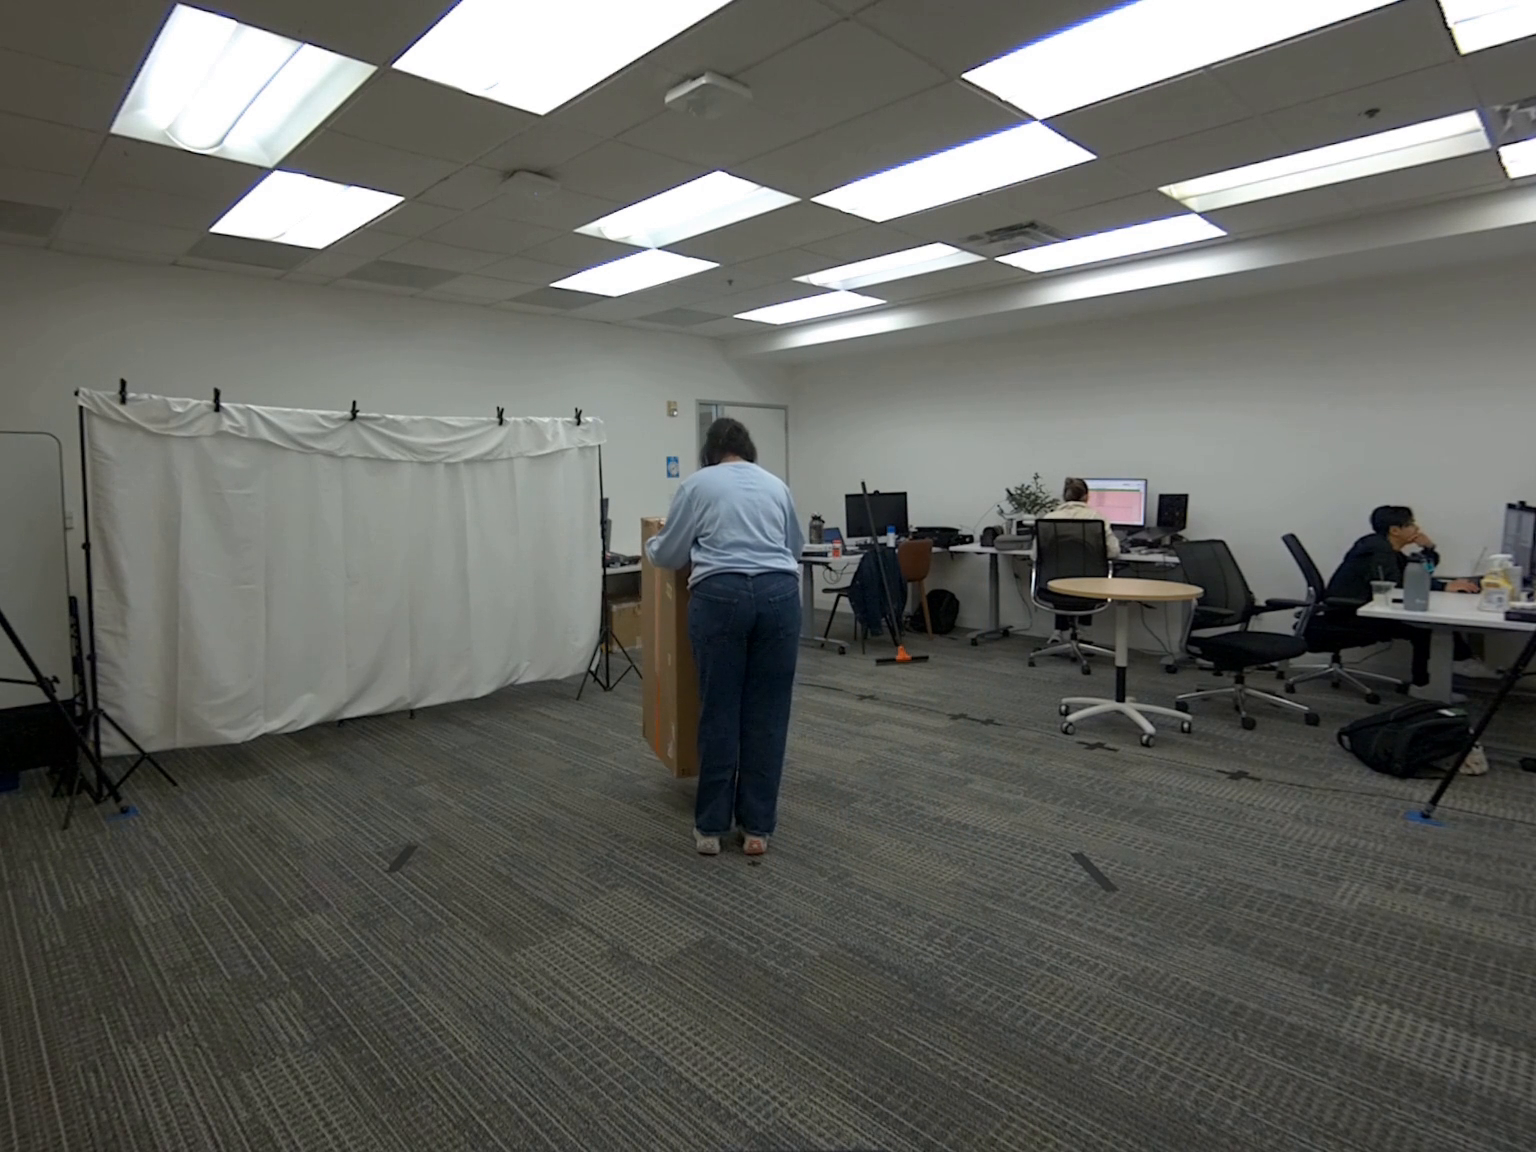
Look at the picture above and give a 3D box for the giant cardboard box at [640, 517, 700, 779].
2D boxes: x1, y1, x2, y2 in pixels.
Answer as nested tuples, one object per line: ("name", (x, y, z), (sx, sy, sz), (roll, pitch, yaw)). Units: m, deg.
("giant cardboard box", (-0.284, 0.272, 3.734), (0.439, 1.021, 0.597), (-2, 6, -20))
